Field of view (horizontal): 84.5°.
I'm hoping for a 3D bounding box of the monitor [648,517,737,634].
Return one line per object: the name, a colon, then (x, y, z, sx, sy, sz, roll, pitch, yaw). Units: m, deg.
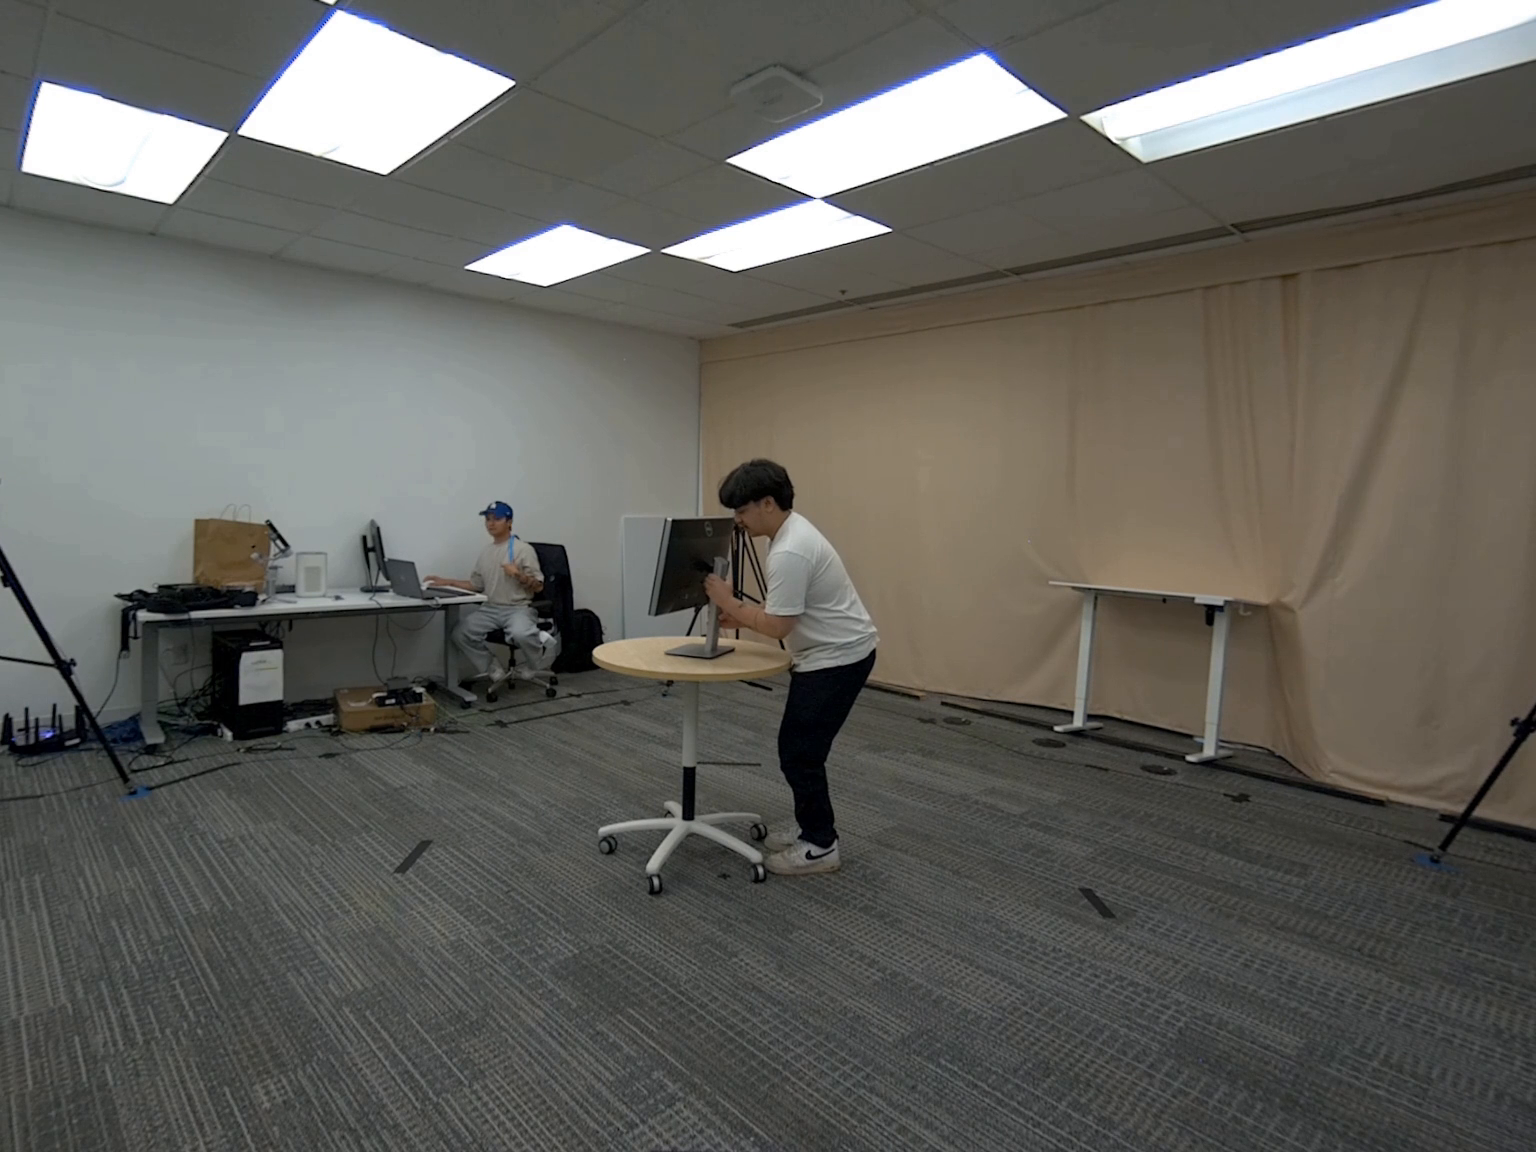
monitor: (-0.232, 0.046, 3.240, 0.214, 0.552, 0.556, 8, 6, 22)
